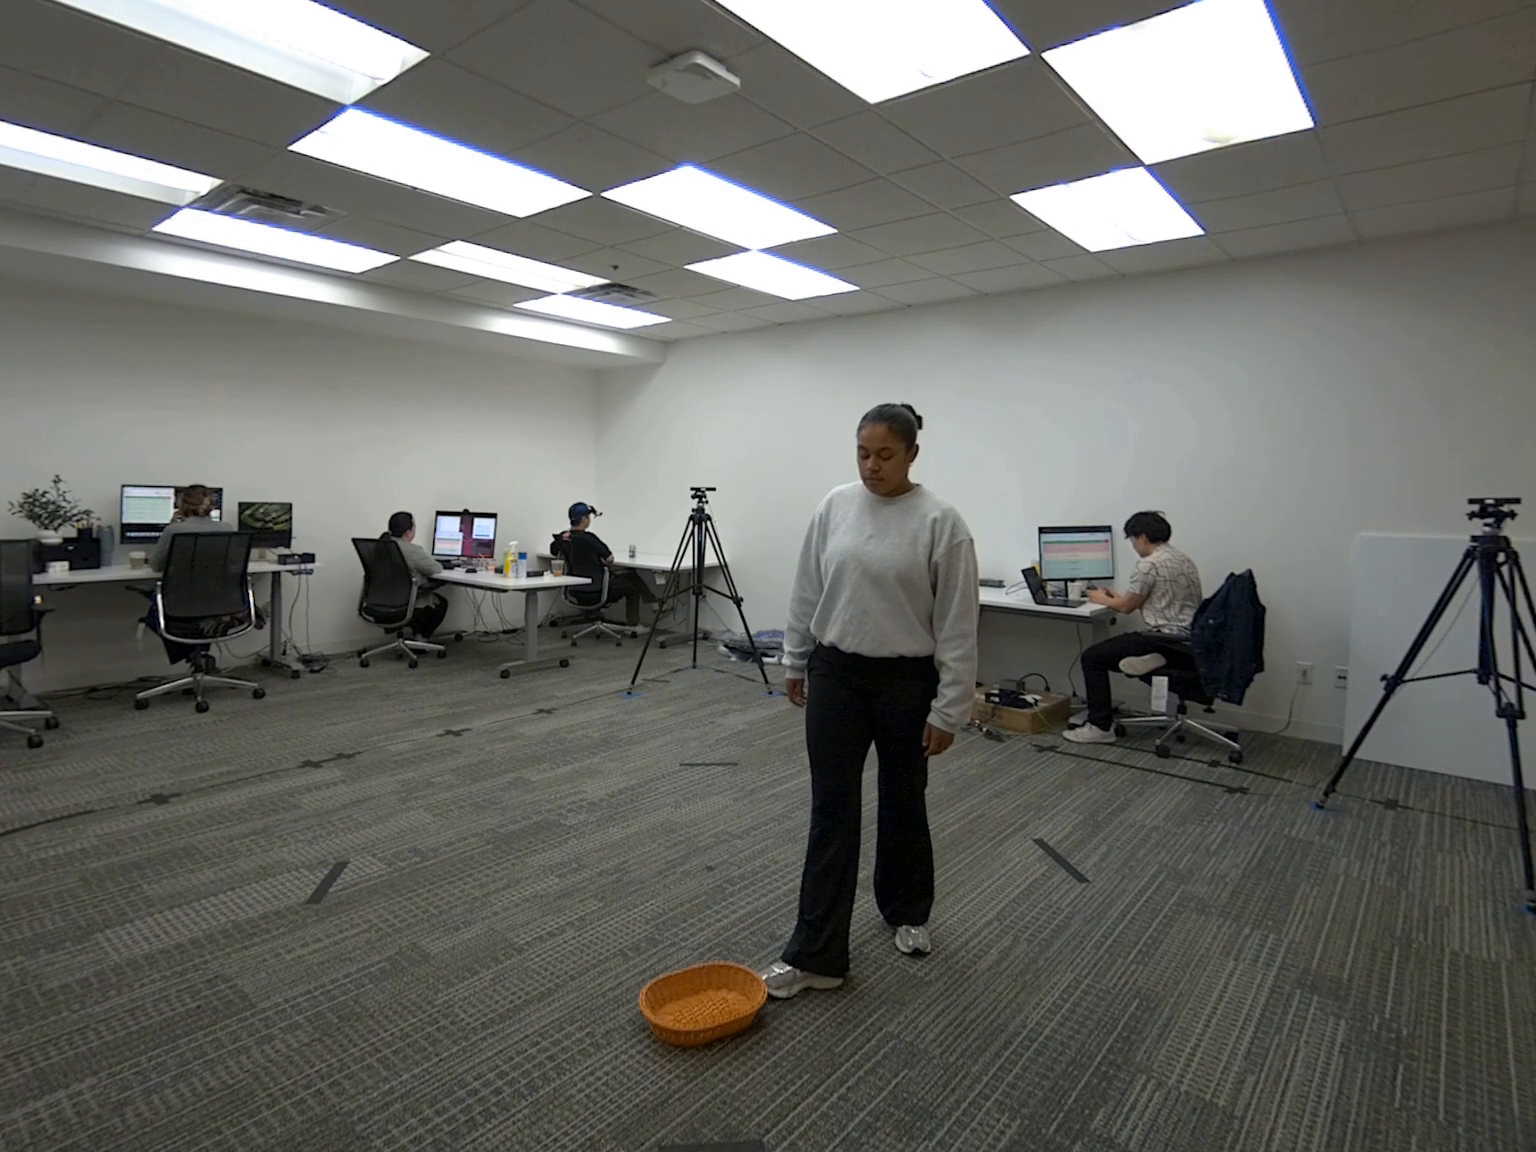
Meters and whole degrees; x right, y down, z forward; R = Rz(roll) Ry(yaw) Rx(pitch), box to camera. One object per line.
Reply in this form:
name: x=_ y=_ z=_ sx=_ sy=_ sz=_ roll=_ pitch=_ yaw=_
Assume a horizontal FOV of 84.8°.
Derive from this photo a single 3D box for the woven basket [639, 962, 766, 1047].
woven basket: x=-0.171 y=1.115 z=2.232 sx=0.342 sy=0.073 sz=0.260 roll=-2 pitch=7 yaw=-26
